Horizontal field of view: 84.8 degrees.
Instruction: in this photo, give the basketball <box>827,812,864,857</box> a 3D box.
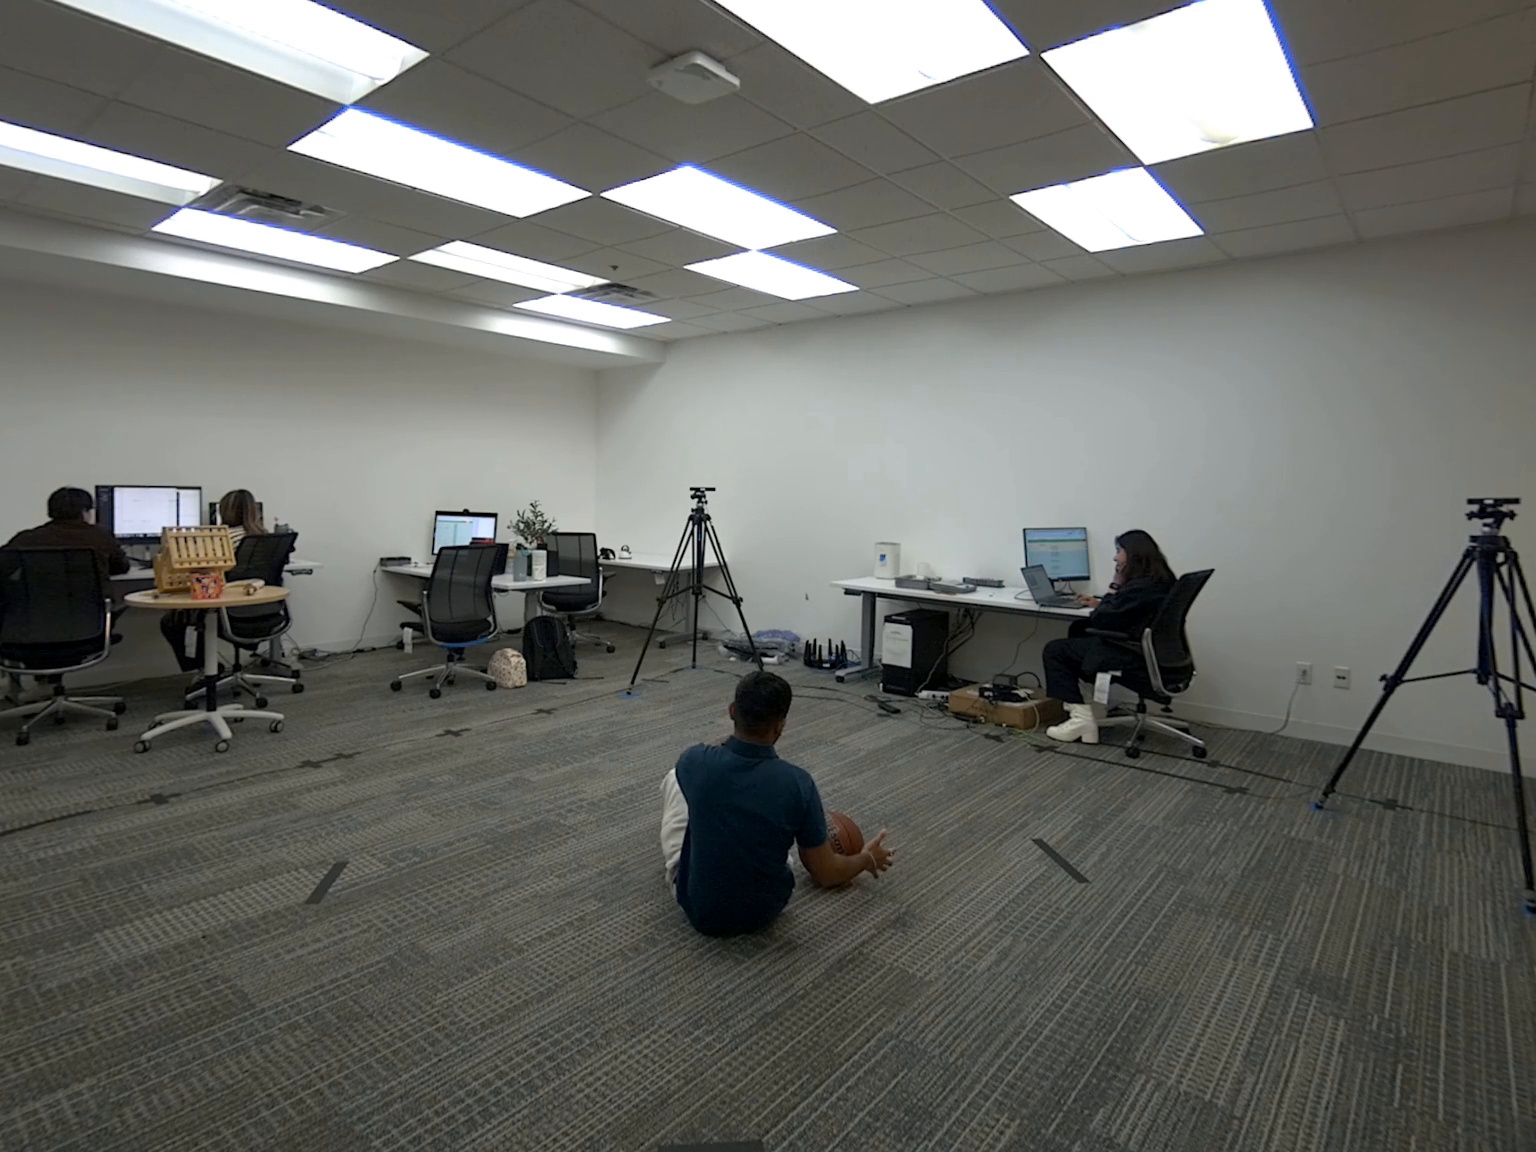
[{"bbox_3d":[0.219,0.963,3.035,0.235,0.235,0.237,1,4,-2],"label":"basketball"}]
